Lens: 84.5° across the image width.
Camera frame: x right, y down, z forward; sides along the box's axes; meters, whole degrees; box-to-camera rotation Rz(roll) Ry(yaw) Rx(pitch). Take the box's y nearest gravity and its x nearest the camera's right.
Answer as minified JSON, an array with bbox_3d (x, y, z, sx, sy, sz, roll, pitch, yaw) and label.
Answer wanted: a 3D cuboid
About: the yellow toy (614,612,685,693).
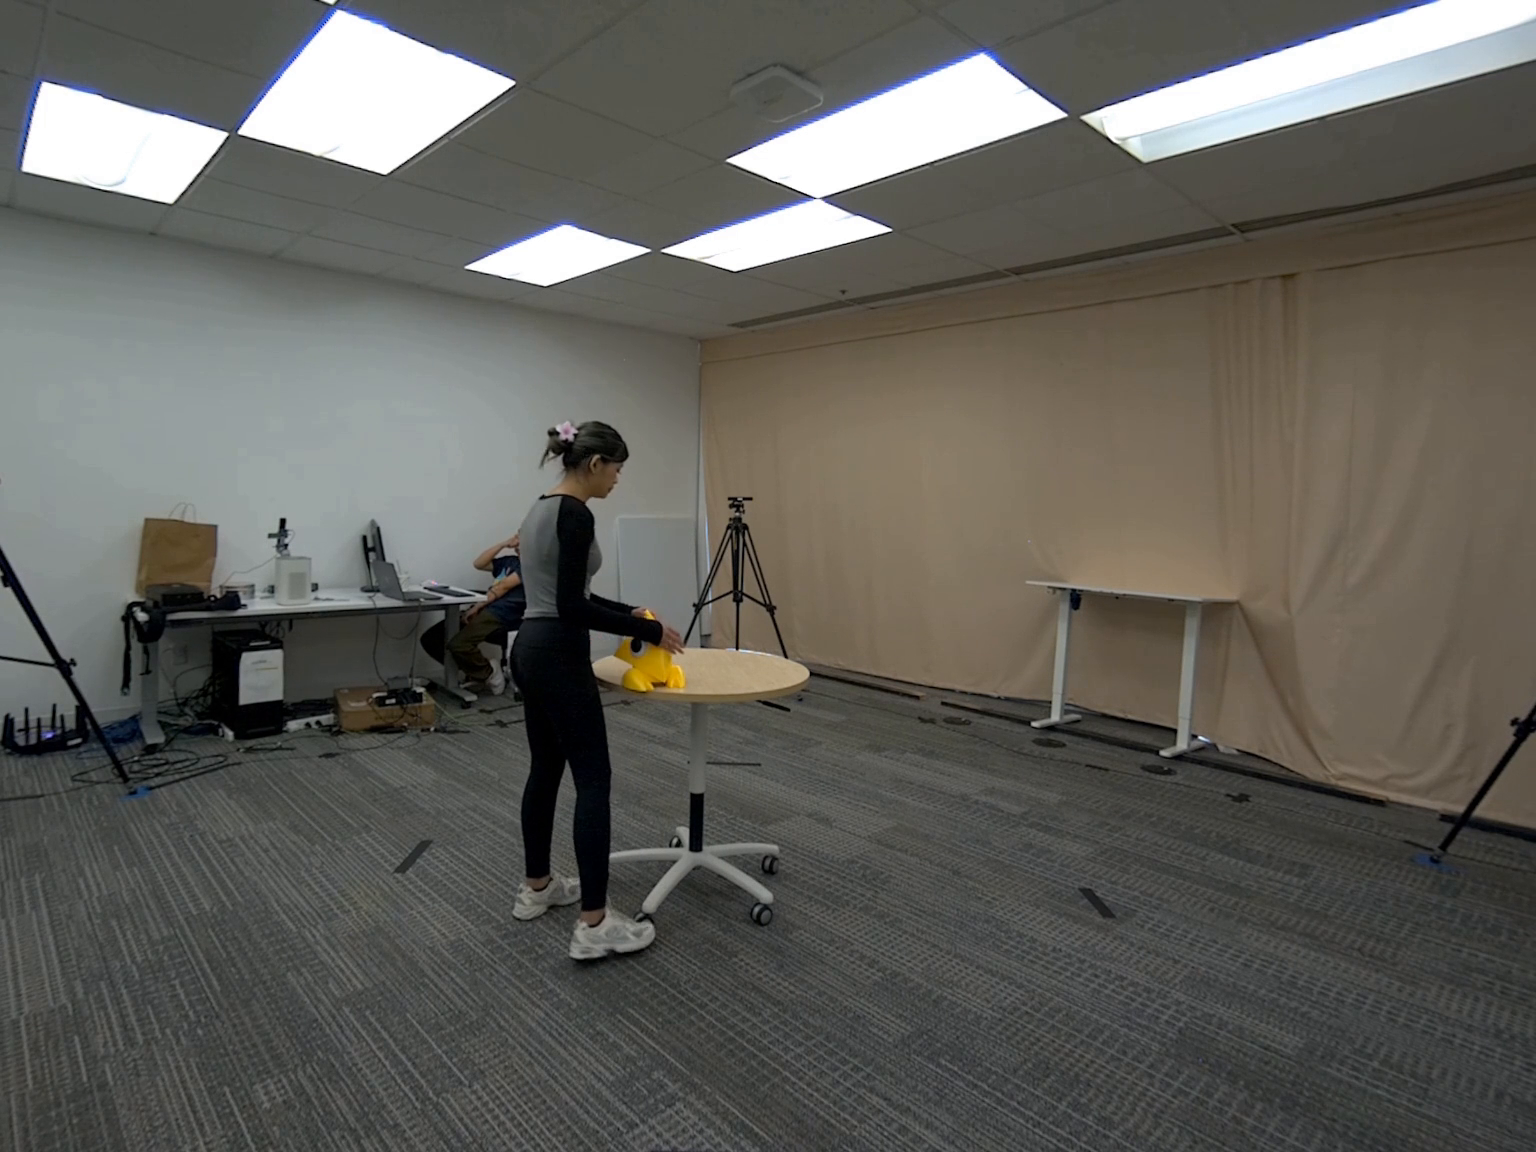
[{"bbox_3d":[-0.374,0.235,2.684,0.201,0.230,0.197,-1,5,-29],"label":"yellow toy"}]
